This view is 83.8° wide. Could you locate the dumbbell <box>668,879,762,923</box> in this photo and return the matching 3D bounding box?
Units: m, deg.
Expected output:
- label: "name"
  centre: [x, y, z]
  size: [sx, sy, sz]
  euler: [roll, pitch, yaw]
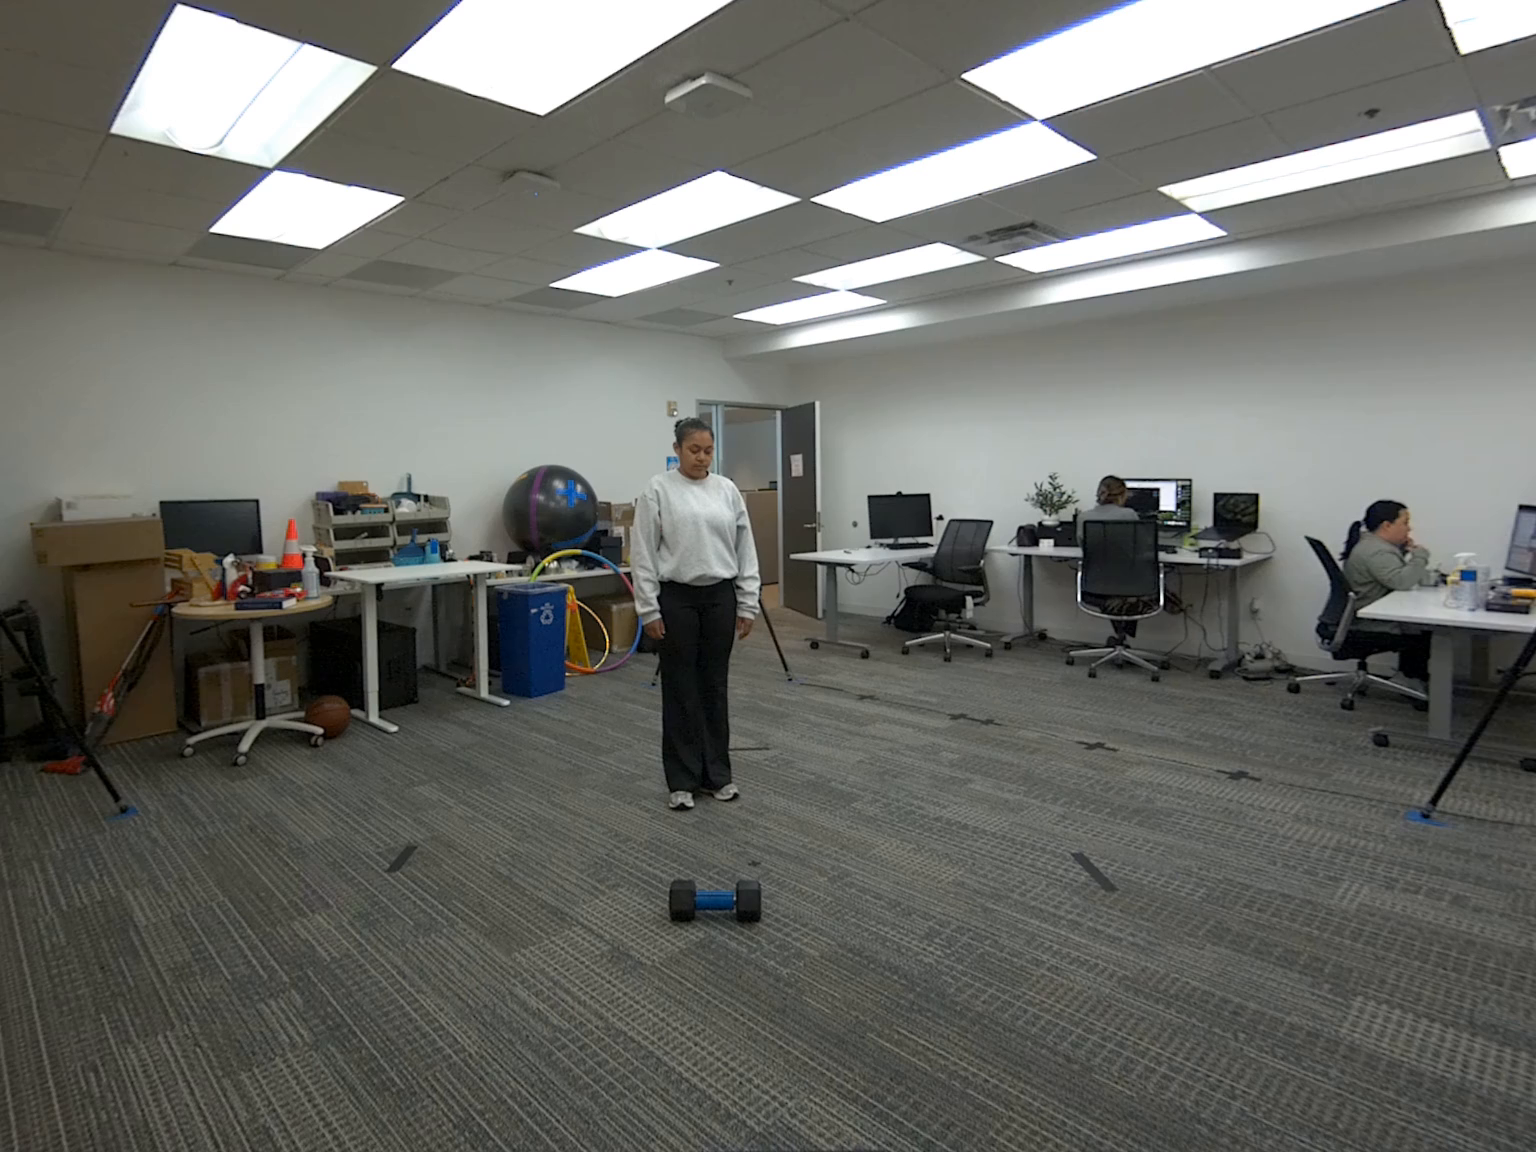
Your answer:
- label: "dumbbell"
  centre: [-0.164, 1.037, 2.728]
  size: [0.294, 0.125, 0.106]
  euler: [0, -26, 2]
